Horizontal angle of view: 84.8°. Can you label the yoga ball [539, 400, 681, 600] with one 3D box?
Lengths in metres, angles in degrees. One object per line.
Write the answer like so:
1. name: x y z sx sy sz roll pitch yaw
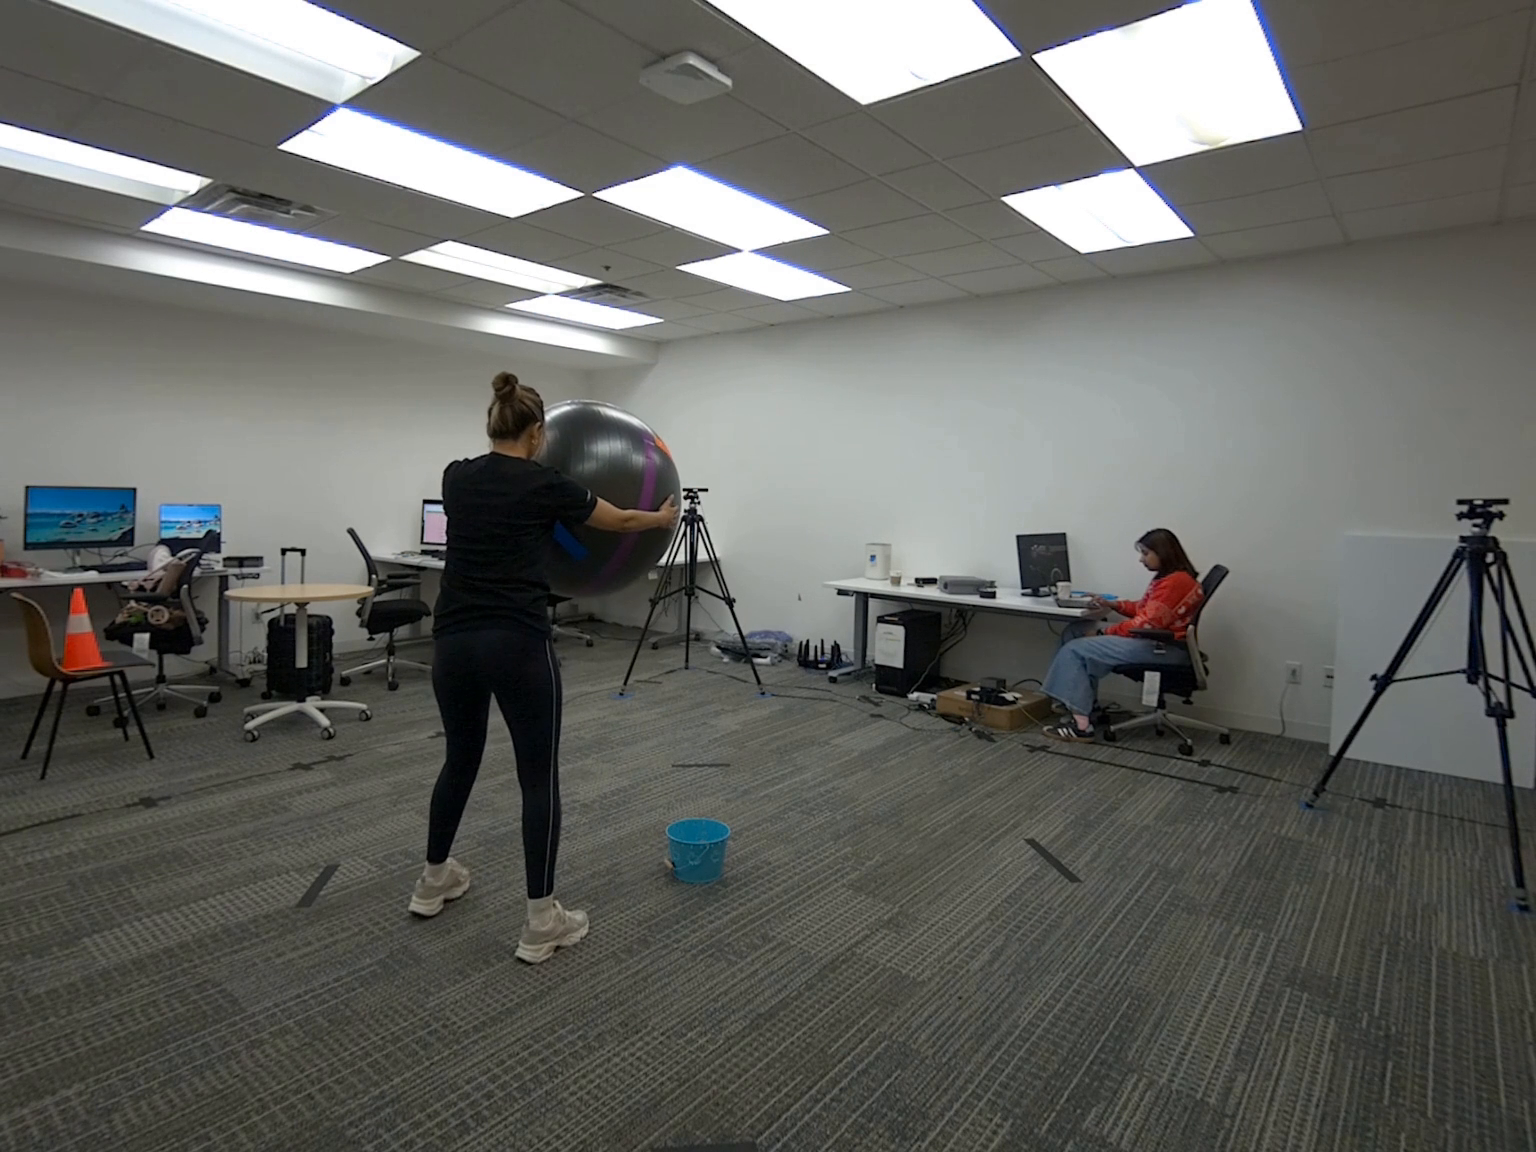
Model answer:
1. yoga ball: -0.730 -0.283 3.283 0.757 0.756 0.762 1 4 -2
